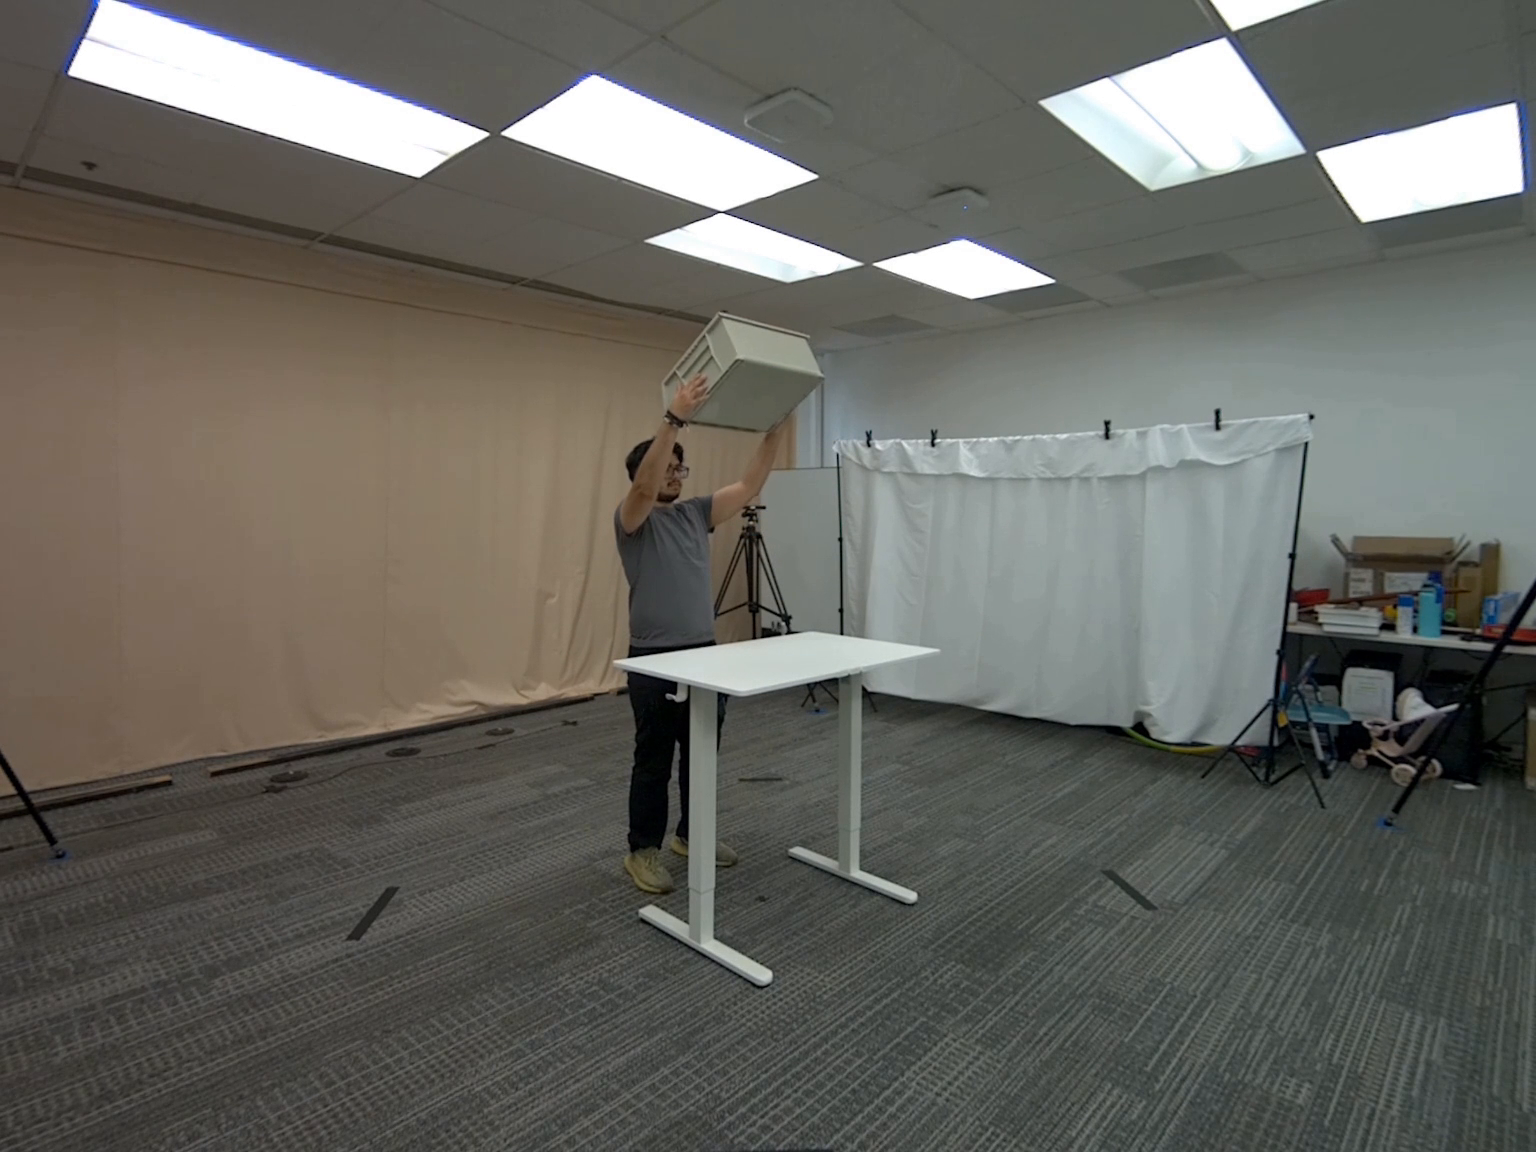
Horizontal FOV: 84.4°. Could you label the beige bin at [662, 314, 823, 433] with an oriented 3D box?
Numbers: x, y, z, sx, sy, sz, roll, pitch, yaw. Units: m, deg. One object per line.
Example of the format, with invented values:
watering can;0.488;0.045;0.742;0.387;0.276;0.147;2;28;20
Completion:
beige bin;-0.082;-0.655;2.853;0.409;0.193;0.382;0;-29;-44
